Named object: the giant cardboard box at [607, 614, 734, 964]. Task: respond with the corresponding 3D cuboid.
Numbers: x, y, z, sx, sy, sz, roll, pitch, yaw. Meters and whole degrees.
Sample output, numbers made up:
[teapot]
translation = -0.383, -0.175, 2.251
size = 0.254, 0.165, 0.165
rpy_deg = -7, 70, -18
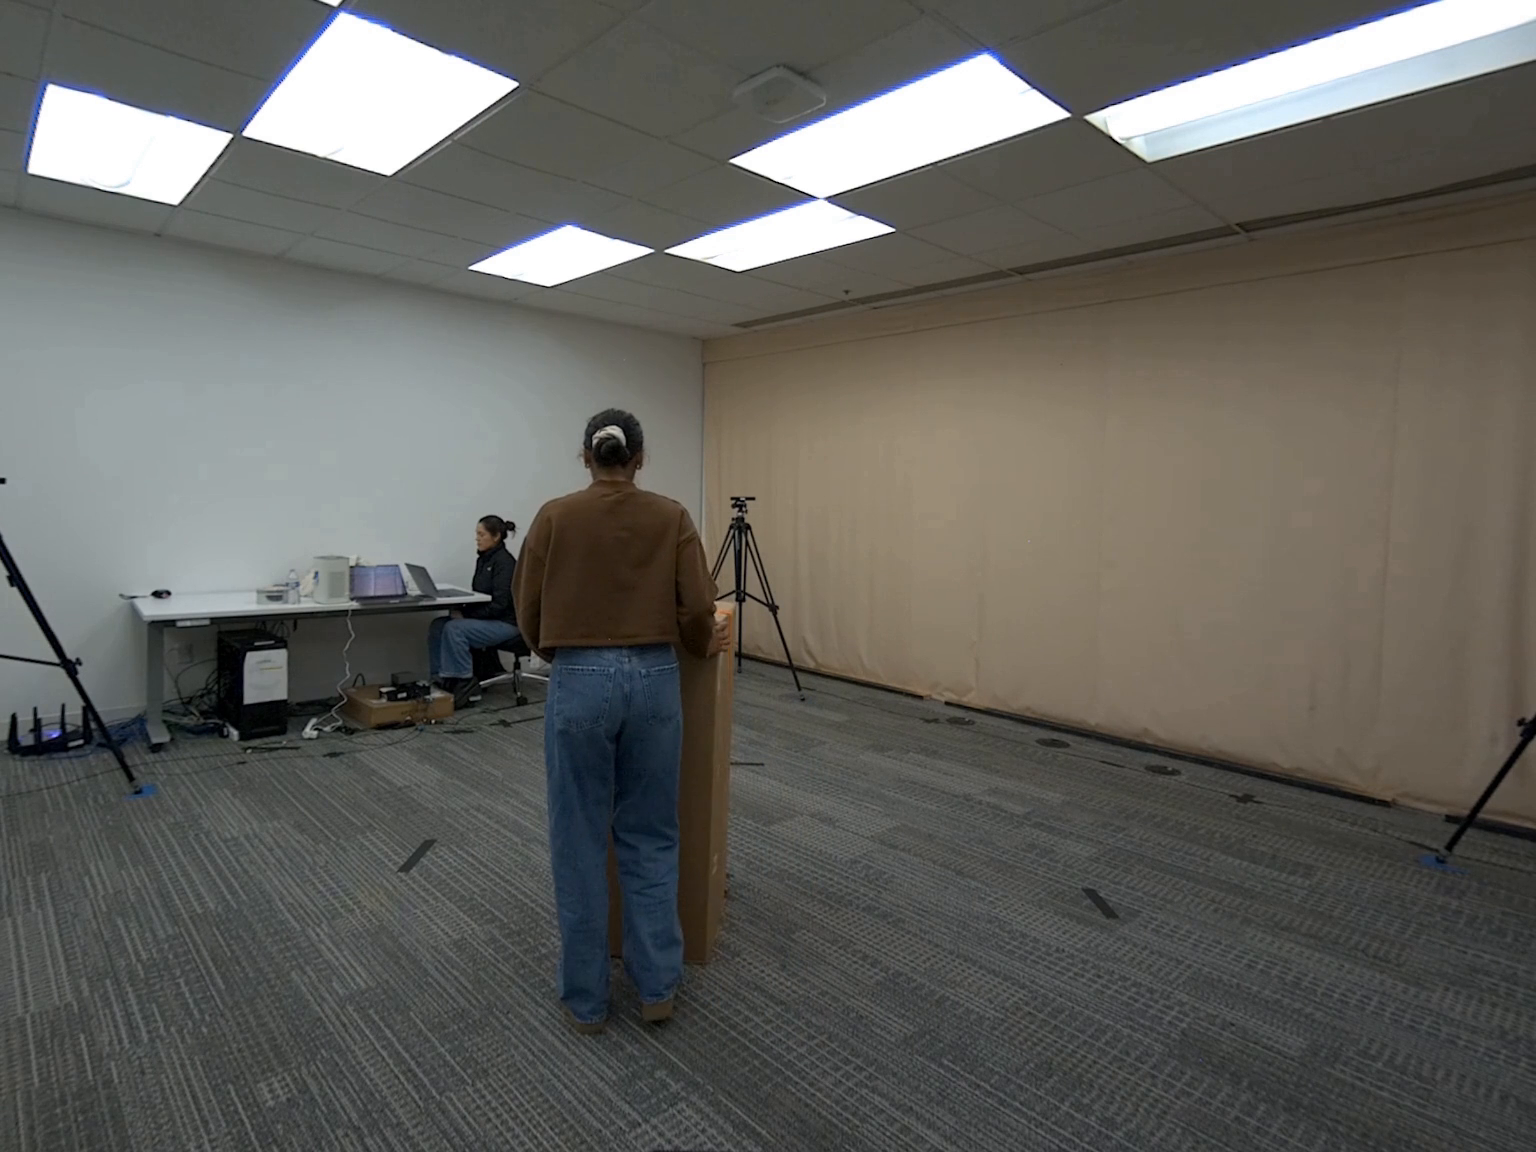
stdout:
[giant cardboard box]
translation = -0.359, 0.622, 2.788
size = 0.428, 1.024, 0.576
rpy_deg = 2, 3, 5
